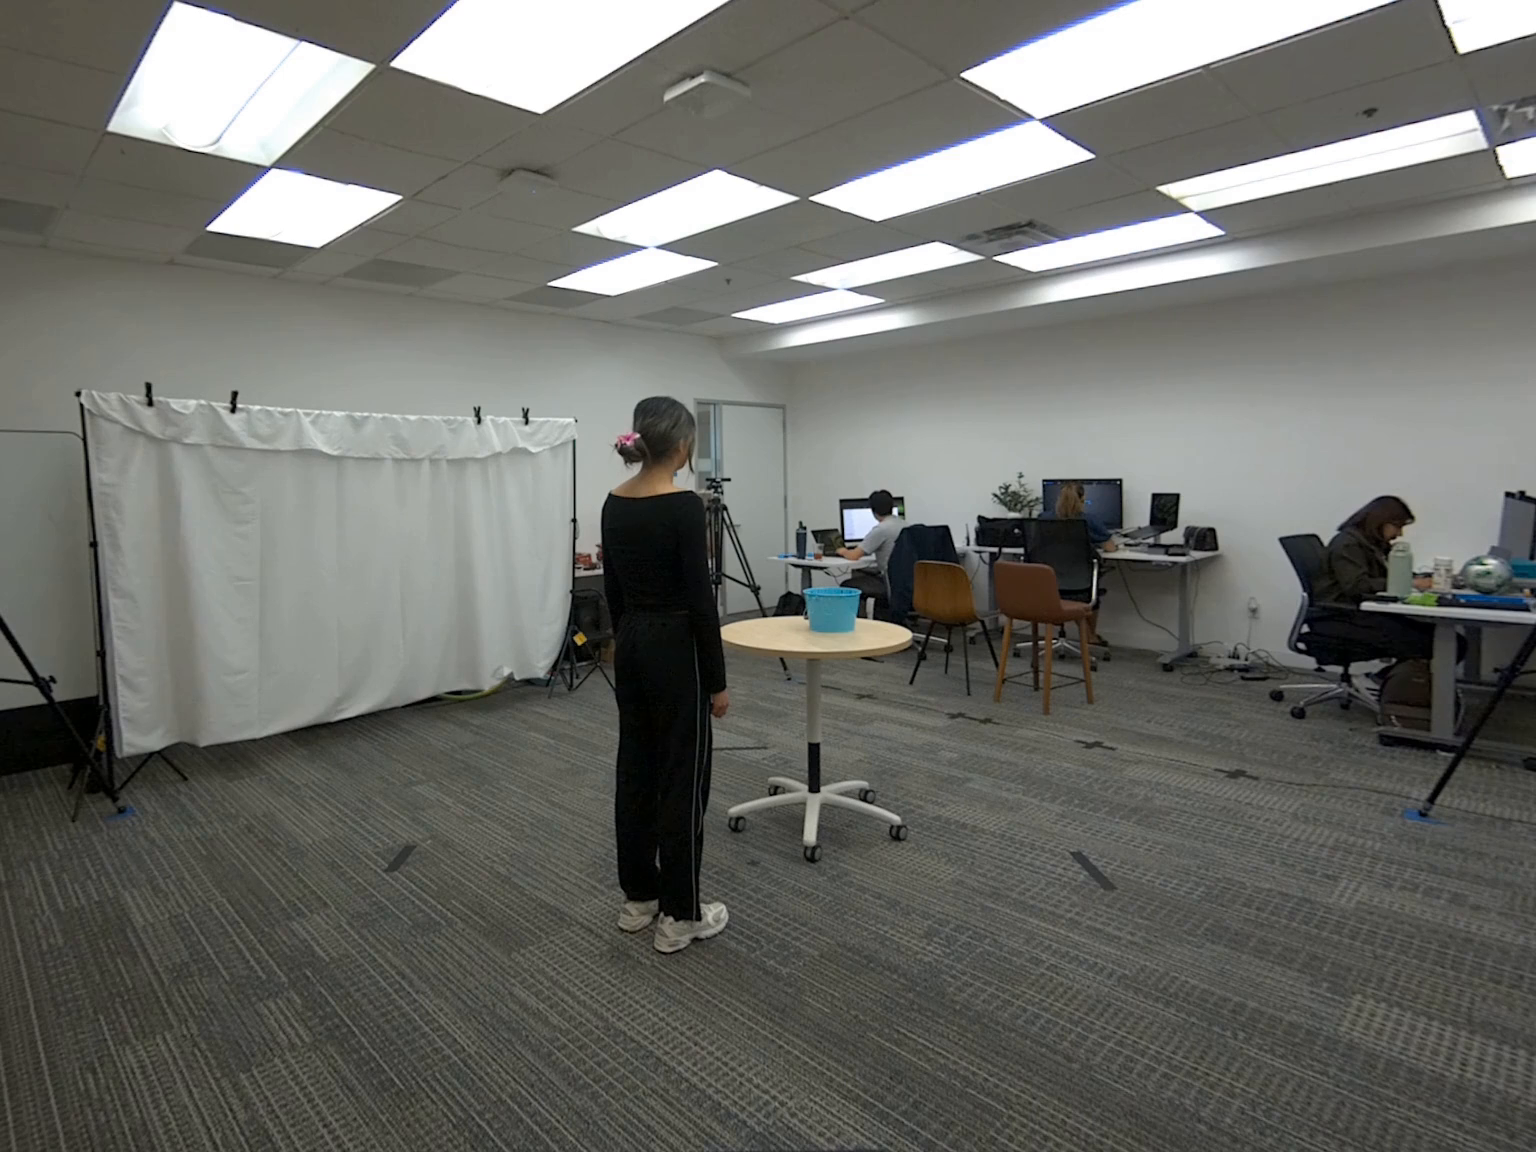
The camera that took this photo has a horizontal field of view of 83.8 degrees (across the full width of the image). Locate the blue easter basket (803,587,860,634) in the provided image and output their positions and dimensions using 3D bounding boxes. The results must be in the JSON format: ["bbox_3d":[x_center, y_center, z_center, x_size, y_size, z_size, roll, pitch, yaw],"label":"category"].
[{"bbox_3d":[0.266,0.141,3.457,0.243,0.155,0.245,-1,6,-2],"label":"blue easter basket"}]
